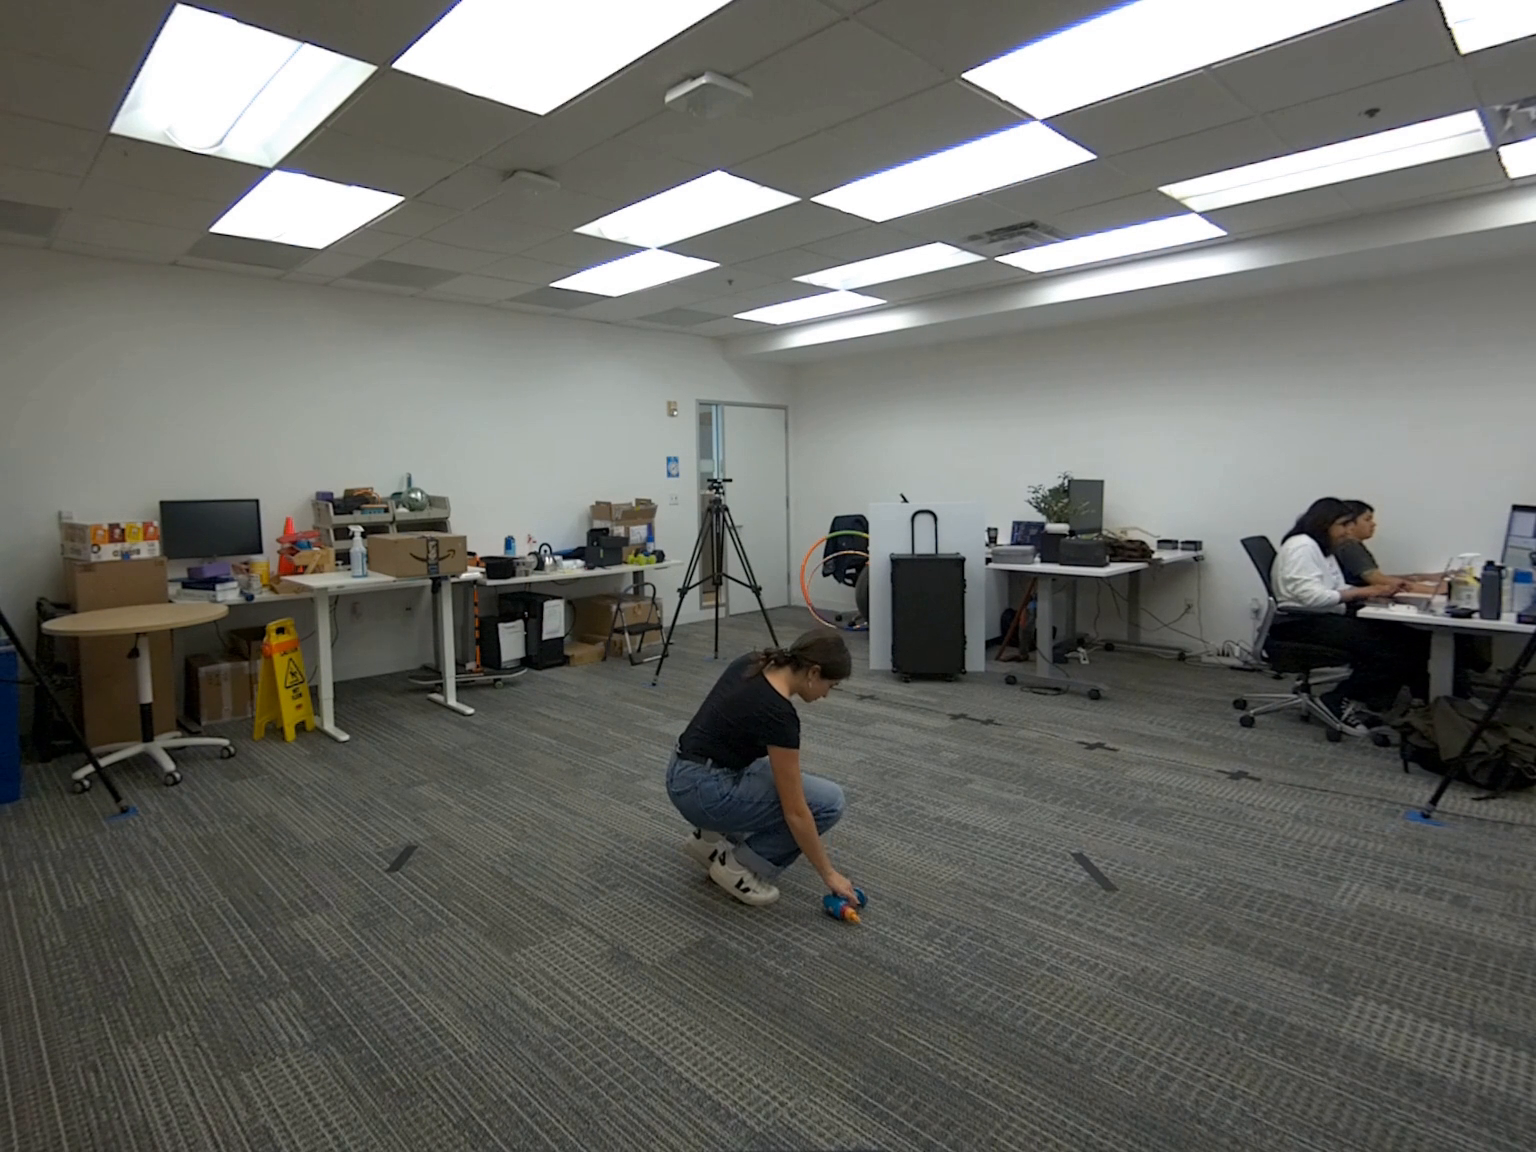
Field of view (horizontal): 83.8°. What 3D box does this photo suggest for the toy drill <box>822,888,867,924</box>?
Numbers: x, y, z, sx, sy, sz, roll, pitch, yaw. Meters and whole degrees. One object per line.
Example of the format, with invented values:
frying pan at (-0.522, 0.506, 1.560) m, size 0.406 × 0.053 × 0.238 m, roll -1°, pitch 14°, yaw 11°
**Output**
toy drill at (0.272, 1.057, 2.725) m, size 0.142 × 0.061 × 0.175 m, roll -6°, pitch 8°, yaw -36°
